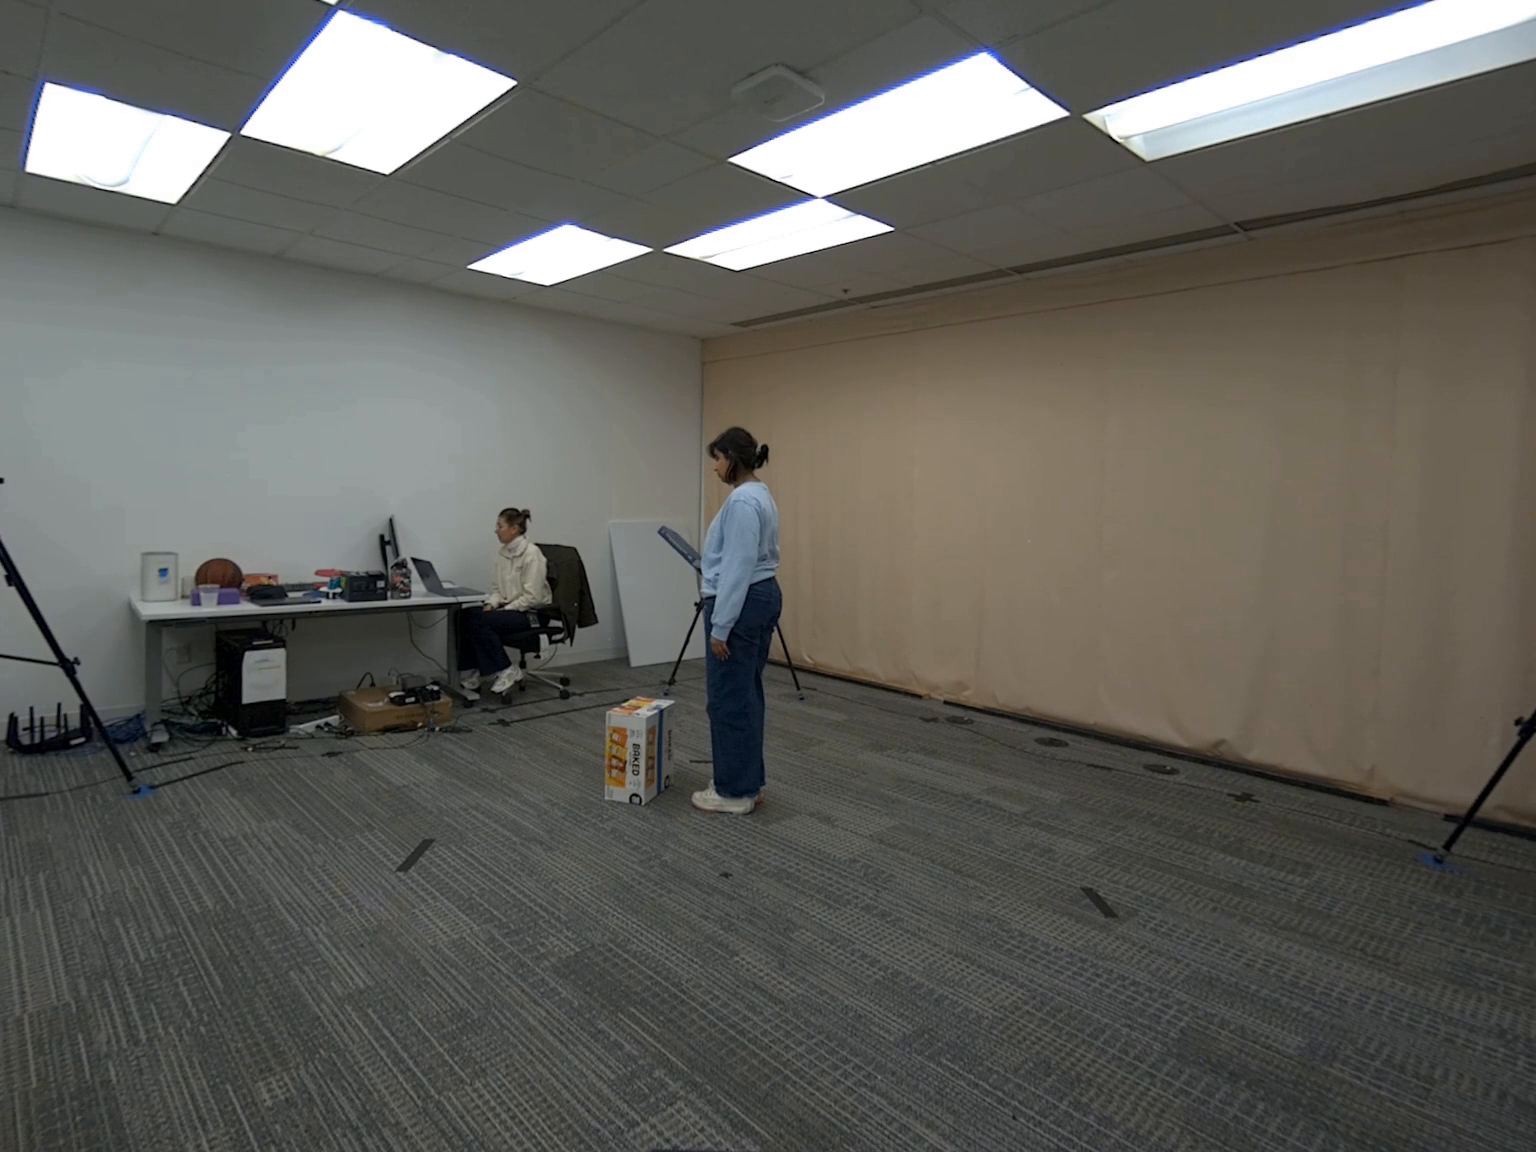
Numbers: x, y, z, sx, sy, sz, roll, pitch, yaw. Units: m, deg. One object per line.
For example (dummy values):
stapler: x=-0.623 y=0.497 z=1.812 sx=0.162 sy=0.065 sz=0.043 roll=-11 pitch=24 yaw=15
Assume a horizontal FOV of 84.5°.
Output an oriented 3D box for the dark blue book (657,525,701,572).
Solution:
dark blue book: x=-0.405 y=-0.129 z=3.951 sx=0.250 sy=0.045 sz=0.160 roll=42 pitch=6 yaw=19
